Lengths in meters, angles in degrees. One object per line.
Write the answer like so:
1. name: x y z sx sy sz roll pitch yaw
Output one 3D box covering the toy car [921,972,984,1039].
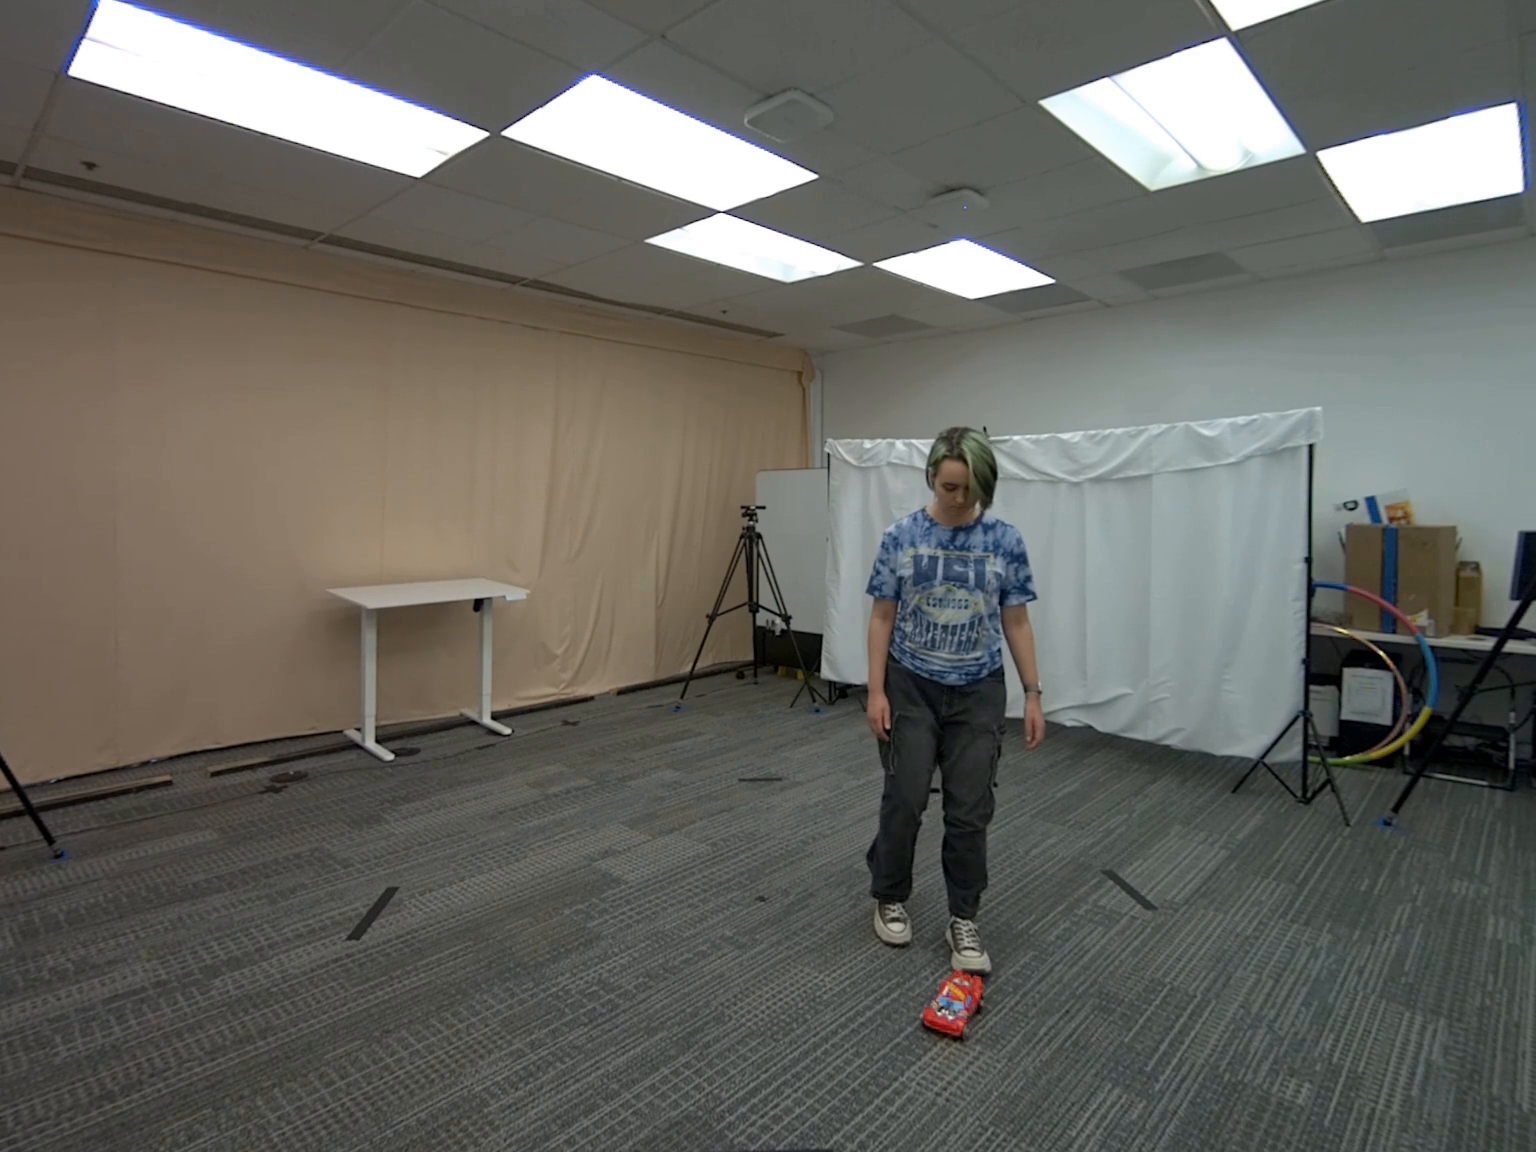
1. toy car: 0.512 1.163 2.303 0.134 0.082 0.250 2 17 31
